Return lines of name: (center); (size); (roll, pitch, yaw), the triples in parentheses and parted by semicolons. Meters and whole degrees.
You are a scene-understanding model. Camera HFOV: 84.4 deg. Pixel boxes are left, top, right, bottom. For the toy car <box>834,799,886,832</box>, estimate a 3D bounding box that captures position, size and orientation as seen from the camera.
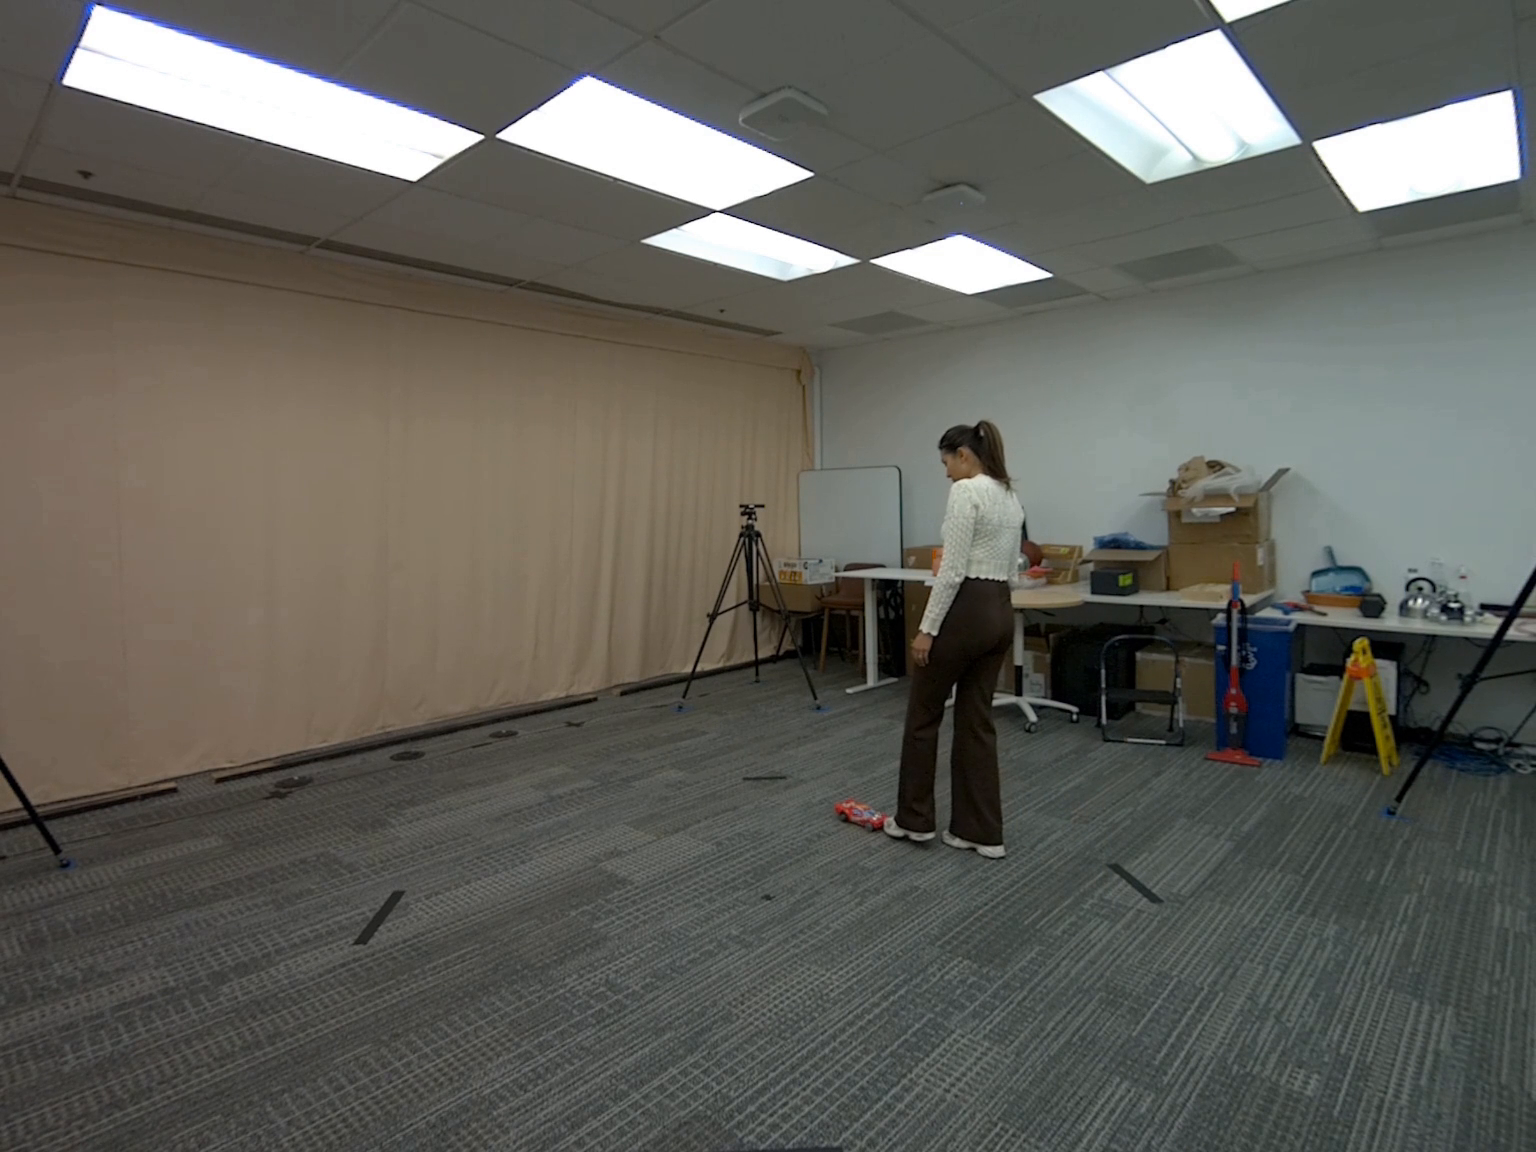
toy car: (0.404, 1.041, 3.678); (0.126, 0.083, 0.264); (-4, 16, -41)
